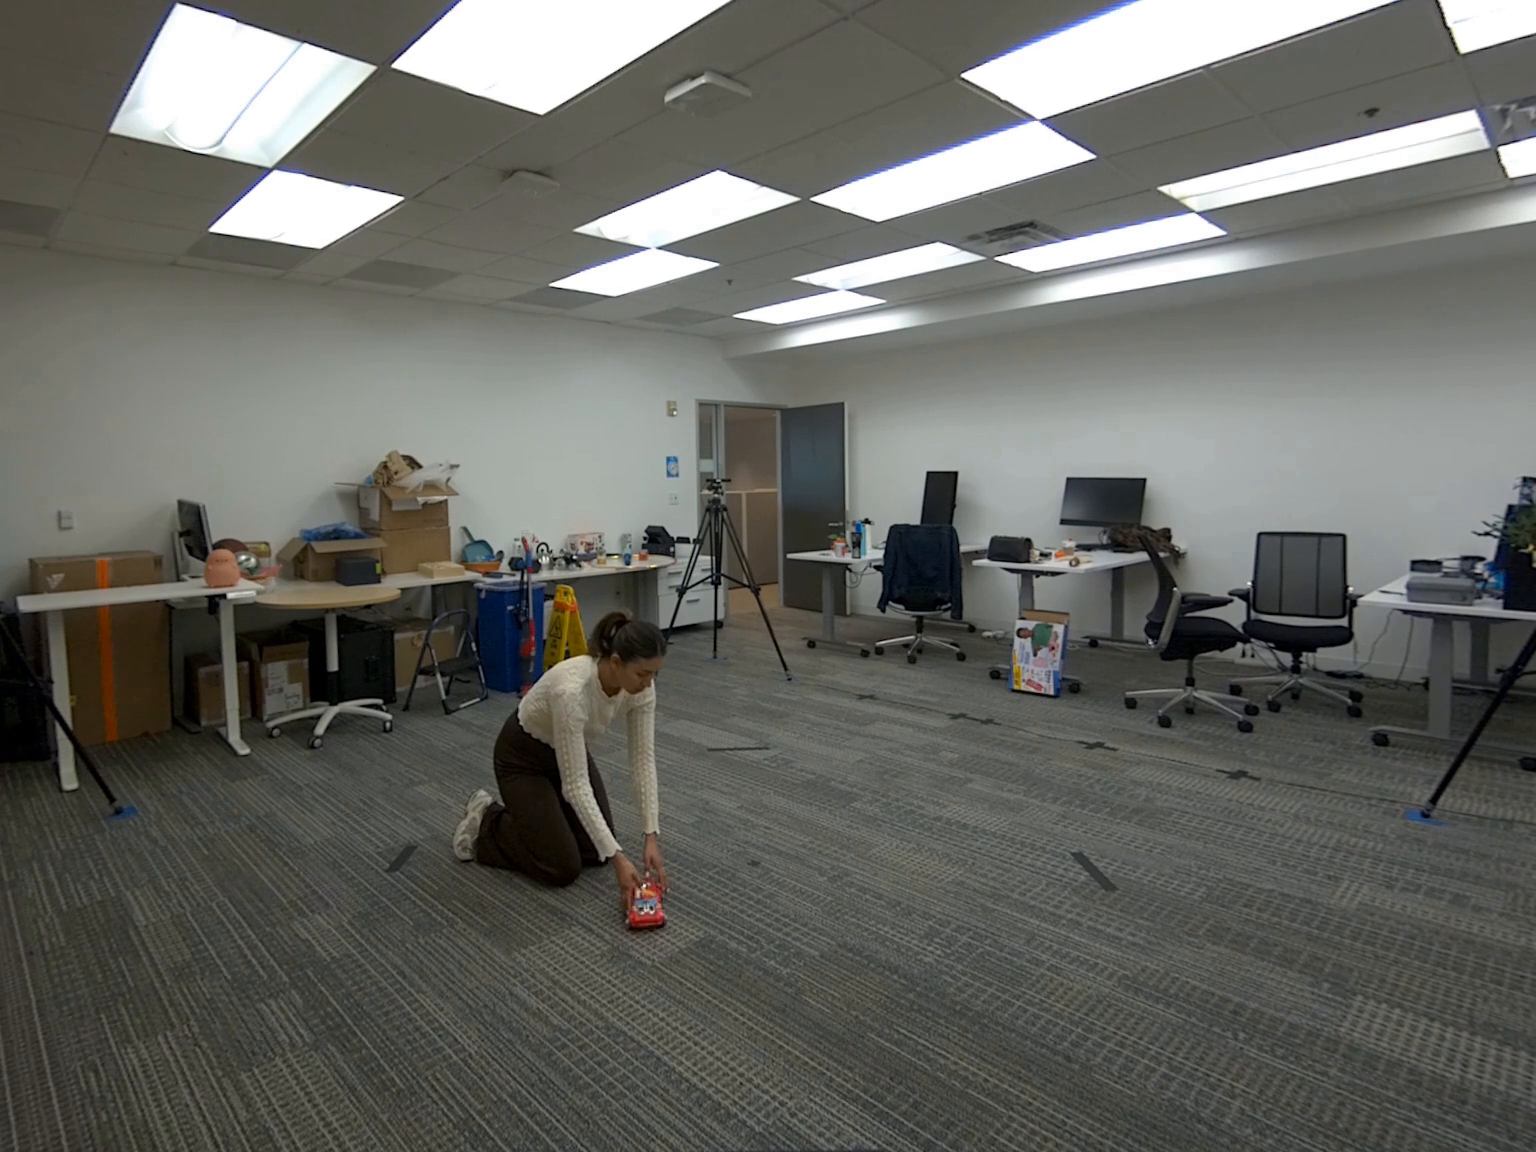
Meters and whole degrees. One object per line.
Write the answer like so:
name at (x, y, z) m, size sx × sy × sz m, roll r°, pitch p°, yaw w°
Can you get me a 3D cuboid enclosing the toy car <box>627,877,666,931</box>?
toy car at (-0.389, 1.062, 2.763) m, size 0.129 × 0.082 × 0.260 m, roll -2°, pitch 18°, yaw -10°
